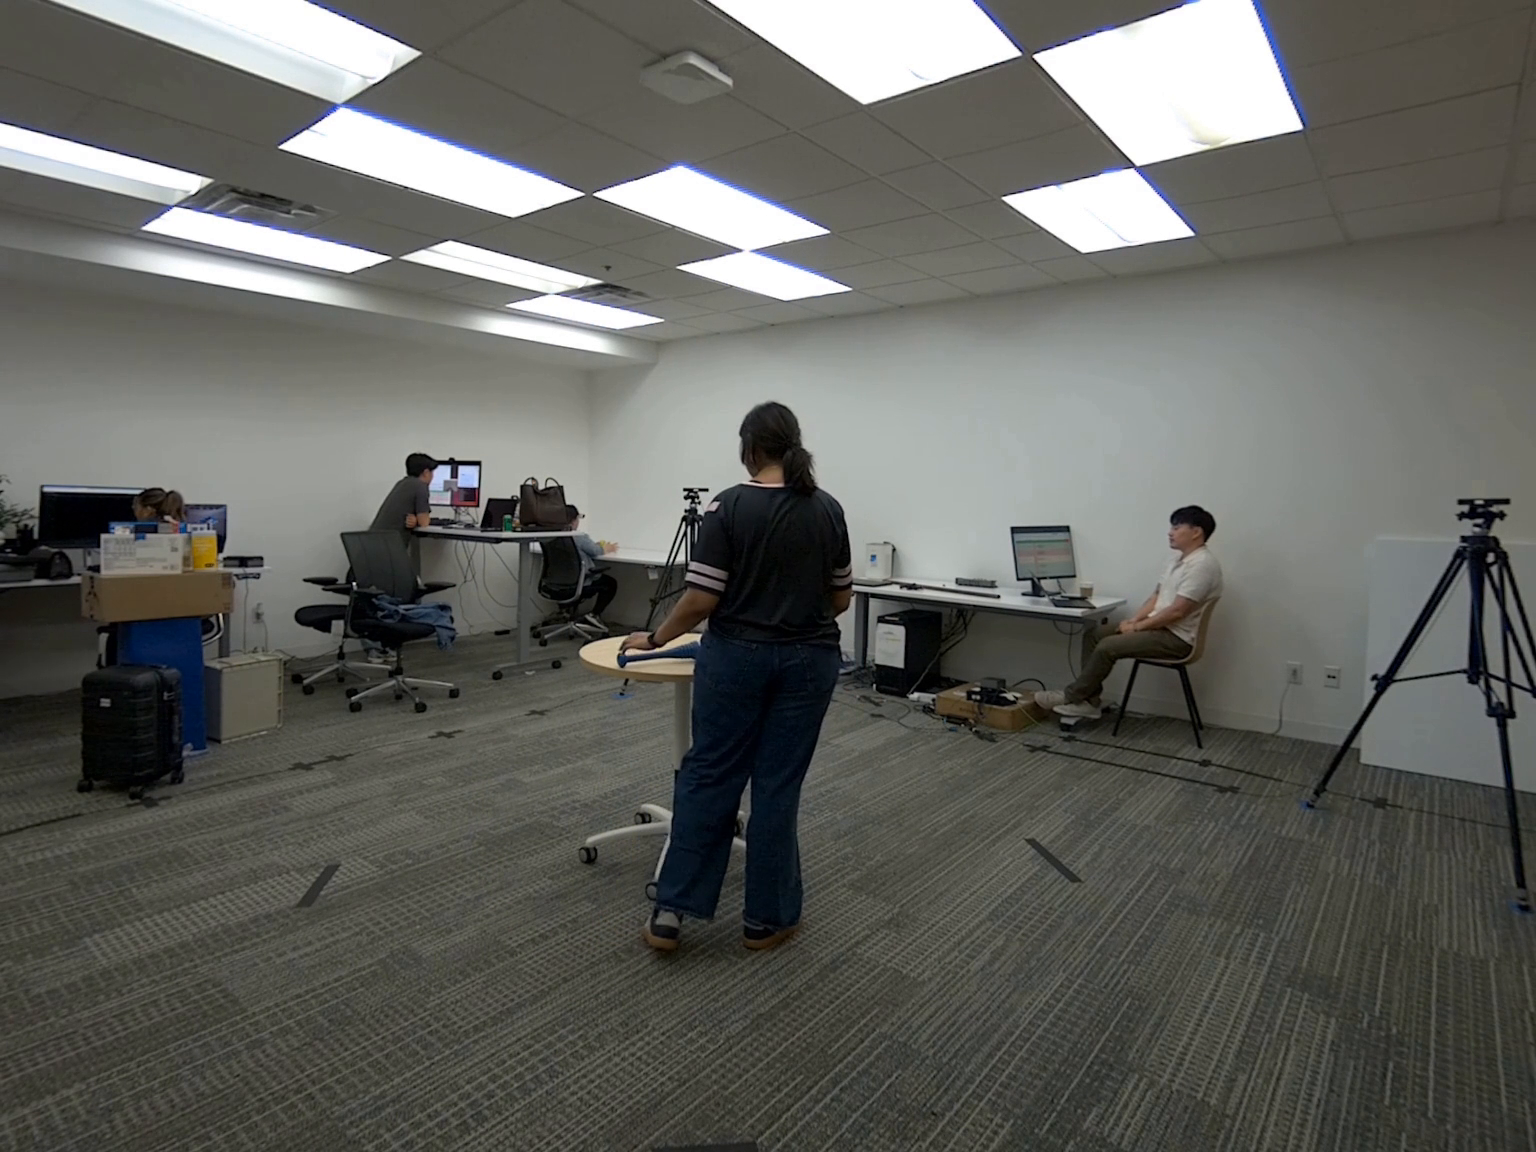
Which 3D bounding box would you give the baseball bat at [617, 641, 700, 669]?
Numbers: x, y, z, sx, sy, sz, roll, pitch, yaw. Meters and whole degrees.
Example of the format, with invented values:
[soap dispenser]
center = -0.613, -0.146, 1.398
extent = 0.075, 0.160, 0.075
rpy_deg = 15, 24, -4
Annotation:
[baseball bat]
center = -0.275, 0.262, 2.972
extent = 0.531, 0.088, 0.091
rpy_deg = -6, 6, -24
